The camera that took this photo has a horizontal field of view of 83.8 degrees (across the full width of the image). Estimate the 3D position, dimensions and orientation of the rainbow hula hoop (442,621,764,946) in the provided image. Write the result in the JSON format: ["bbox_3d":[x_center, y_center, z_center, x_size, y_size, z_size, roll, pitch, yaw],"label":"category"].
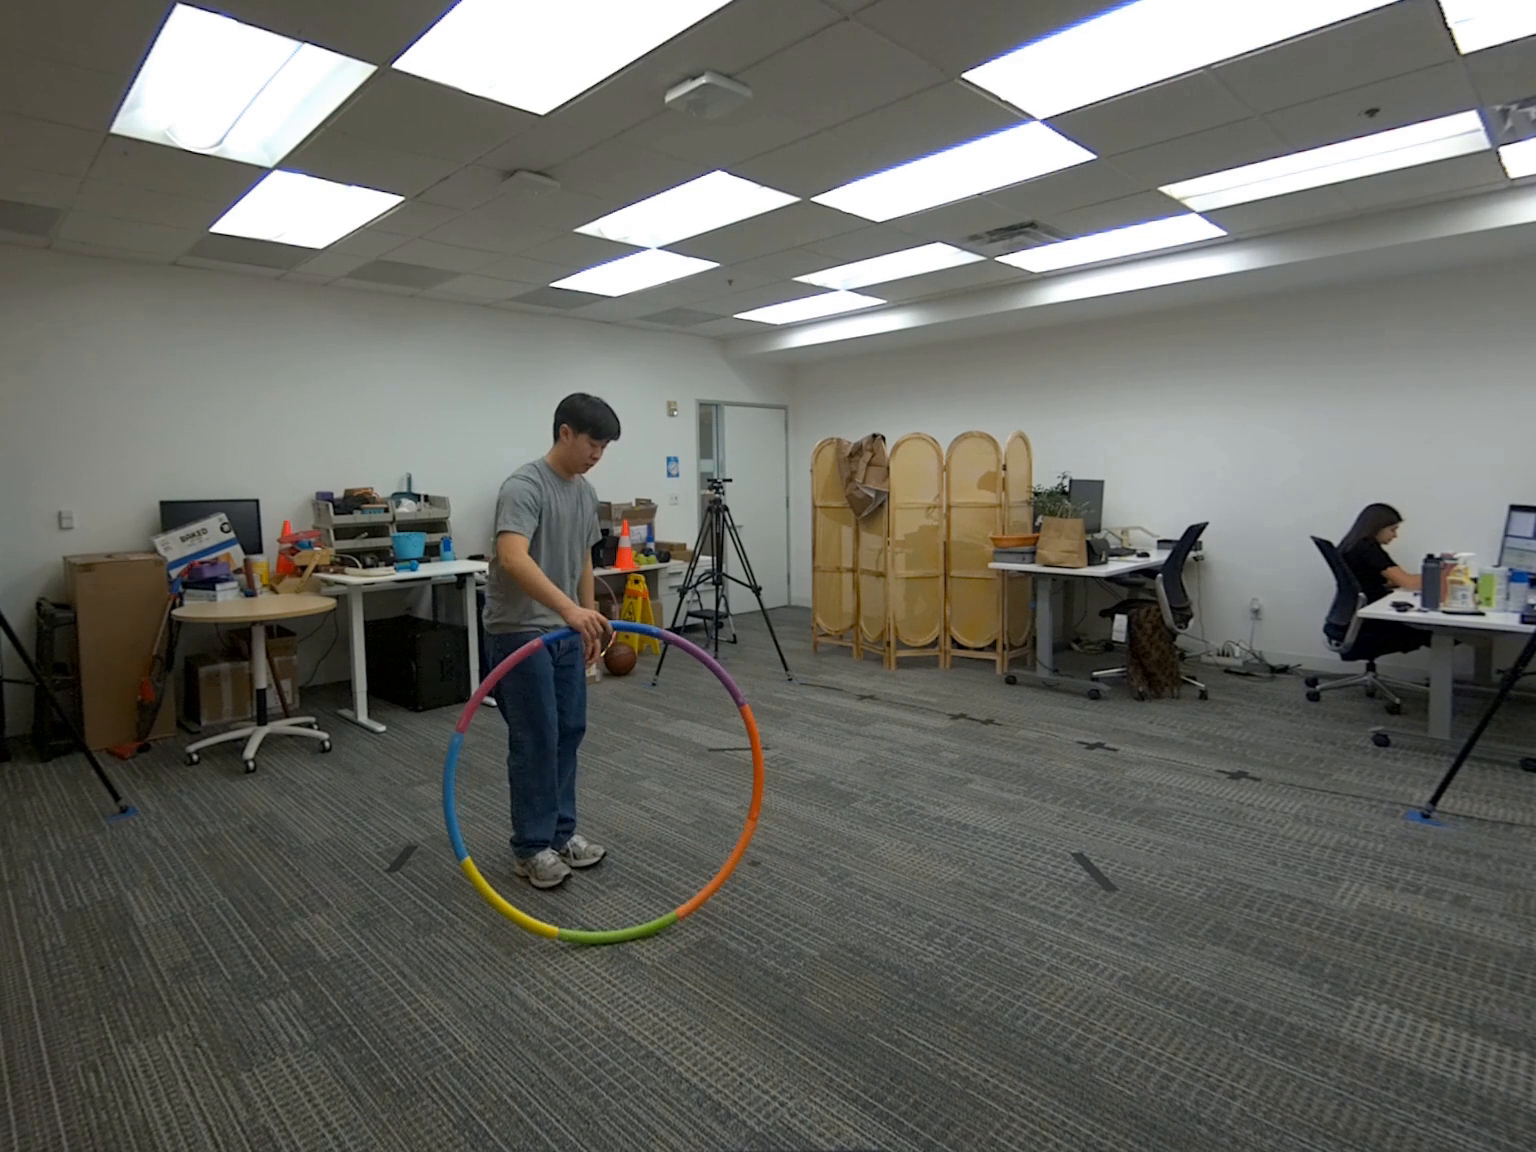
[{"bbox_3d":[-0.492,0.625,2.657,0.966,0.986,0.036,-2,-8,-14],"label":"rainbow hula hoop"}]
